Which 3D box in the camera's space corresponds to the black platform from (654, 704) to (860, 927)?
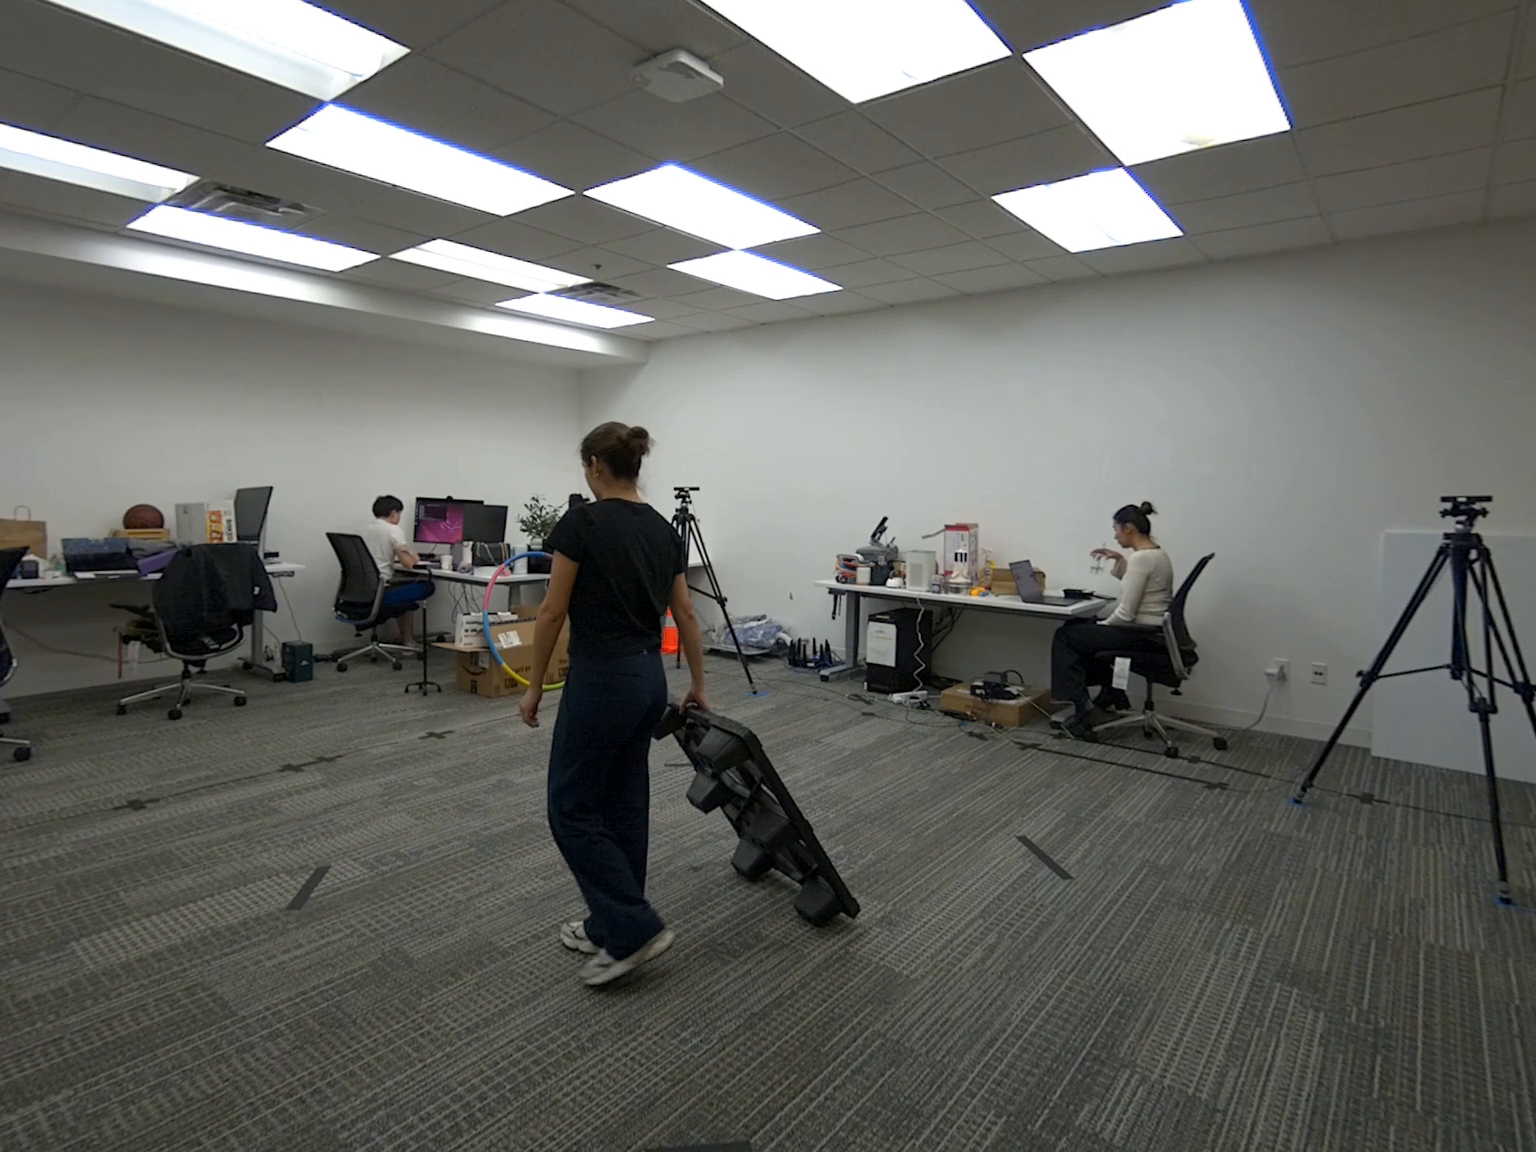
[{"bbox_3d":[-0.085,0.753,2.805,0.142,0.785,0.624,-39,23,-26],"label":"black platform"}]
